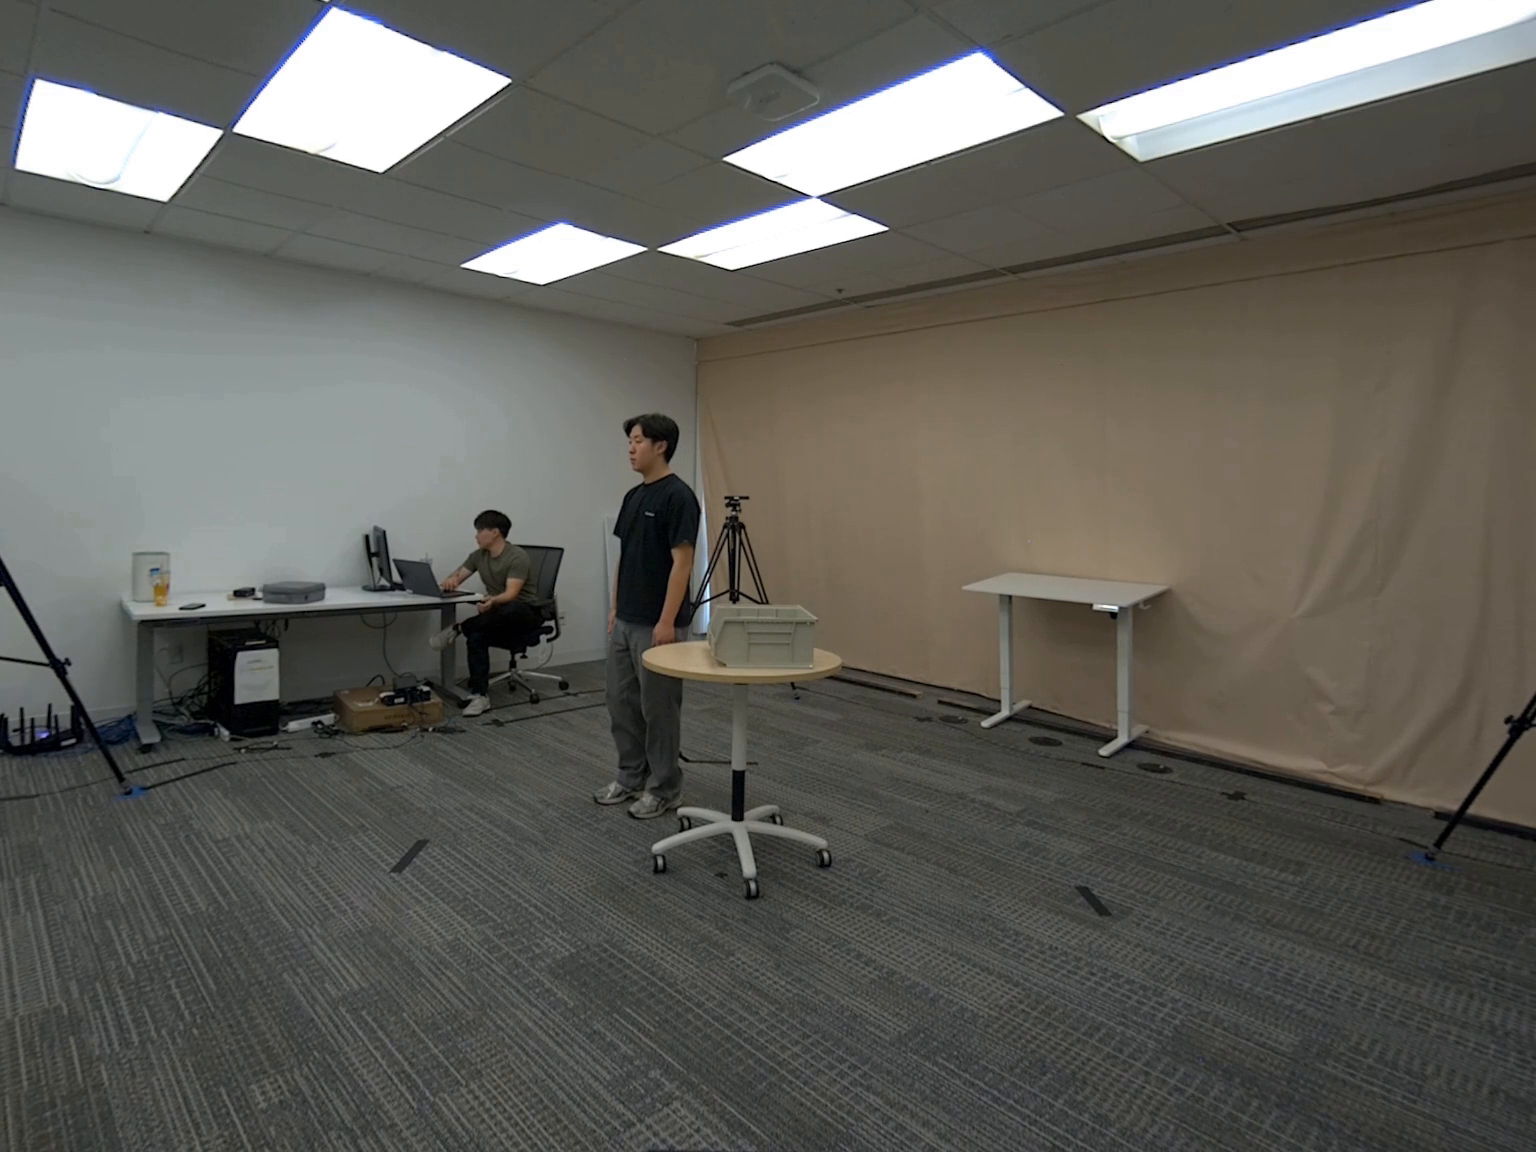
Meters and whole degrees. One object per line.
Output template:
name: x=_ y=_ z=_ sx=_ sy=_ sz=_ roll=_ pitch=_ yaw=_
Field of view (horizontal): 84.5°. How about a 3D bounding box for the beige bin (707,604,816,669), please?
beige bin: x=-0.043 y=0.224 z=3.211 sx=0.376 sy=0.188 sz=0.425 roll=2 pitch=4 yaw=-6
